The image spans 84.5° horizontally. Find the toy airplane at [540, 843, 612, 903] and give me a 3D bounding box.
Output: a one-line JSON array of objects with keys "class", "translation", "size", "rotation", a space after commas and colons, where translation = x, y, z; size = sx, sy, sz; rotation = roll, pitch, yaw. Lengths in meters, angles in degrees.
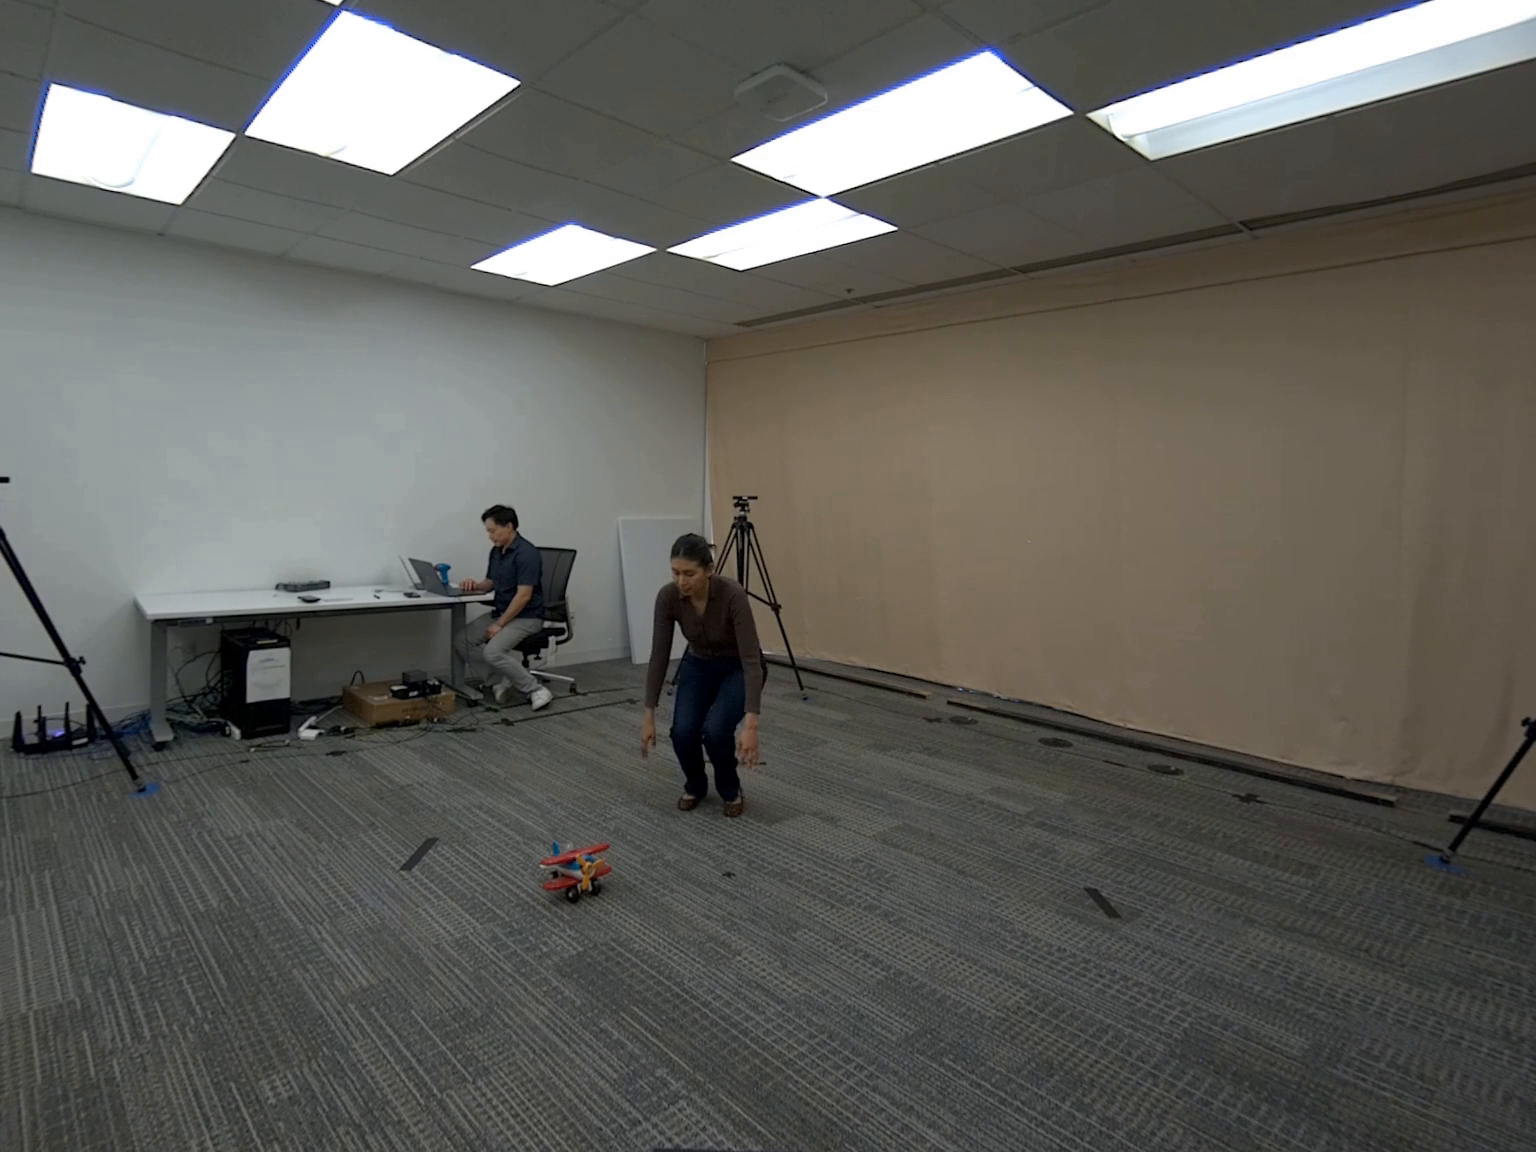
[{"class": "toy airplane", "translation": [-0.709, 1.031, 2.947], "size": [0.264, 0.156, 0.248], "rotation": [5, 7, 20]}]
